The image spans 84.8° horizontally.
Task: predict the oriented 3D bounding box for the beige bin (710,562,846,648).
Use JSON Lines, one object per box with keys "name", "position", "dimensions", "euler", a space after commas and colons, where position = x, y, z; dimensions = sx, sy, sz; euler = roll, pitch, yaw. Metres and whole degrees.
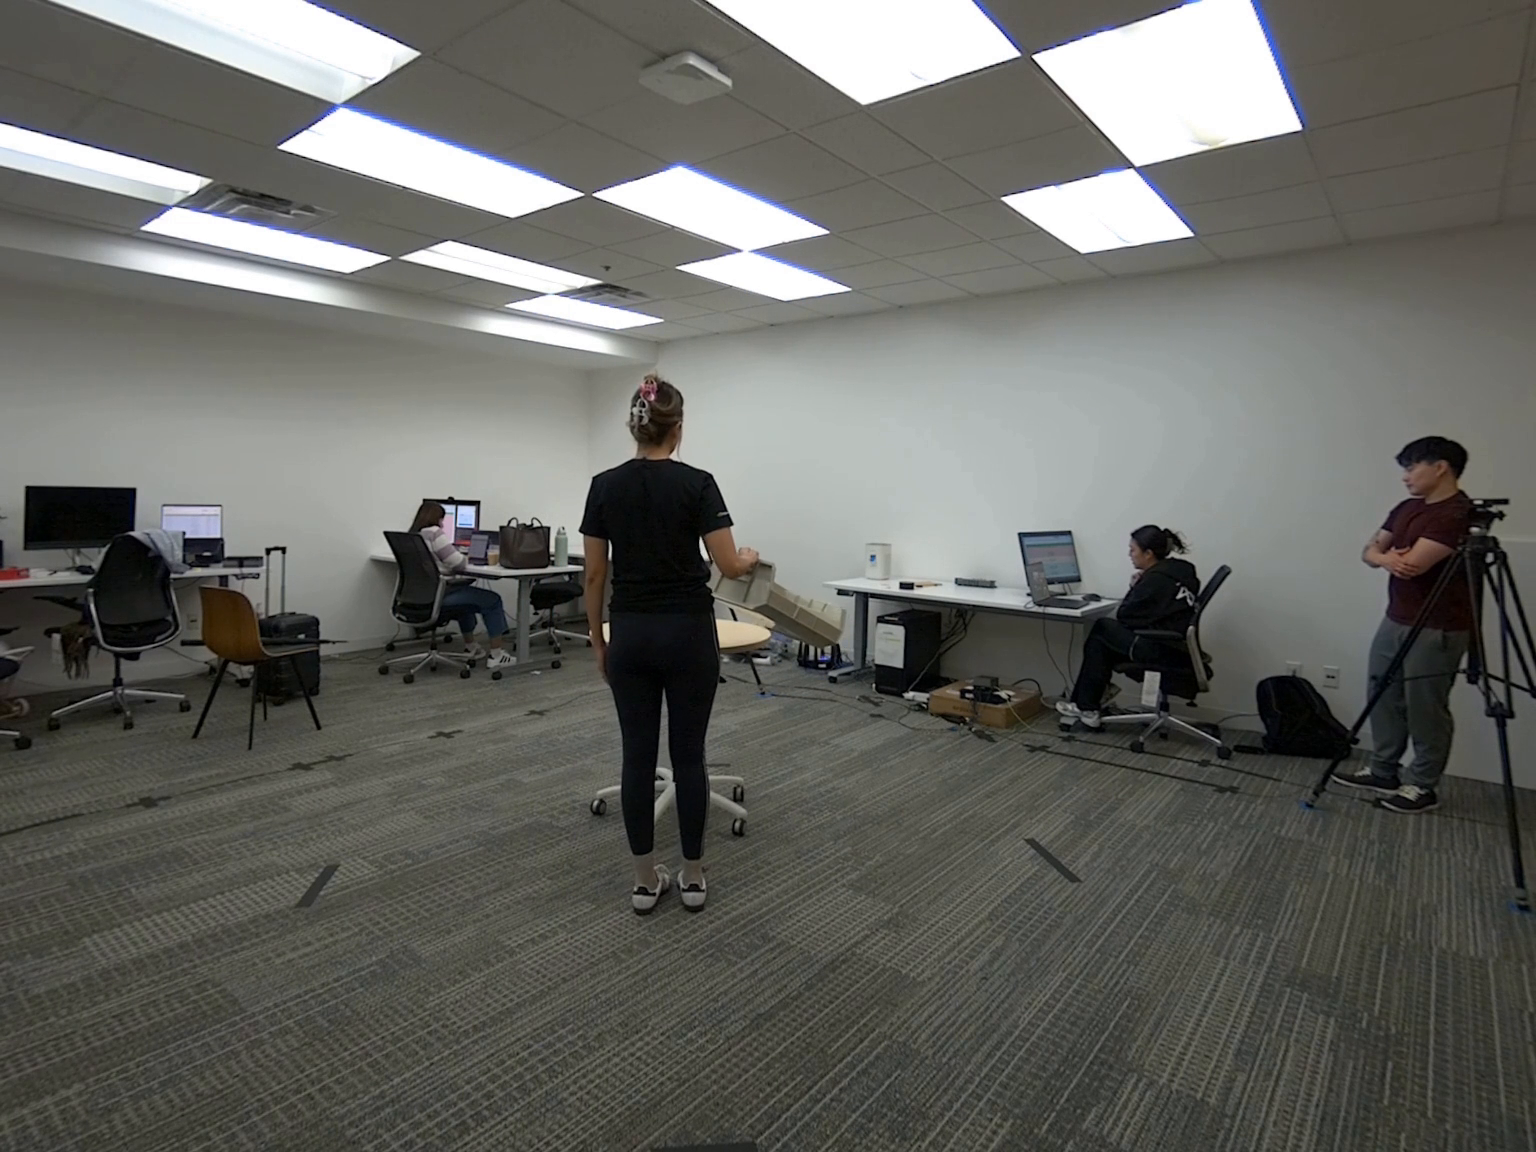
{"name": "beige bin", "position": [0.014, 0.085, 3.141], "dimensions": [0.405, 0.190, 0.391], "euler": [31, -11, -39]}
